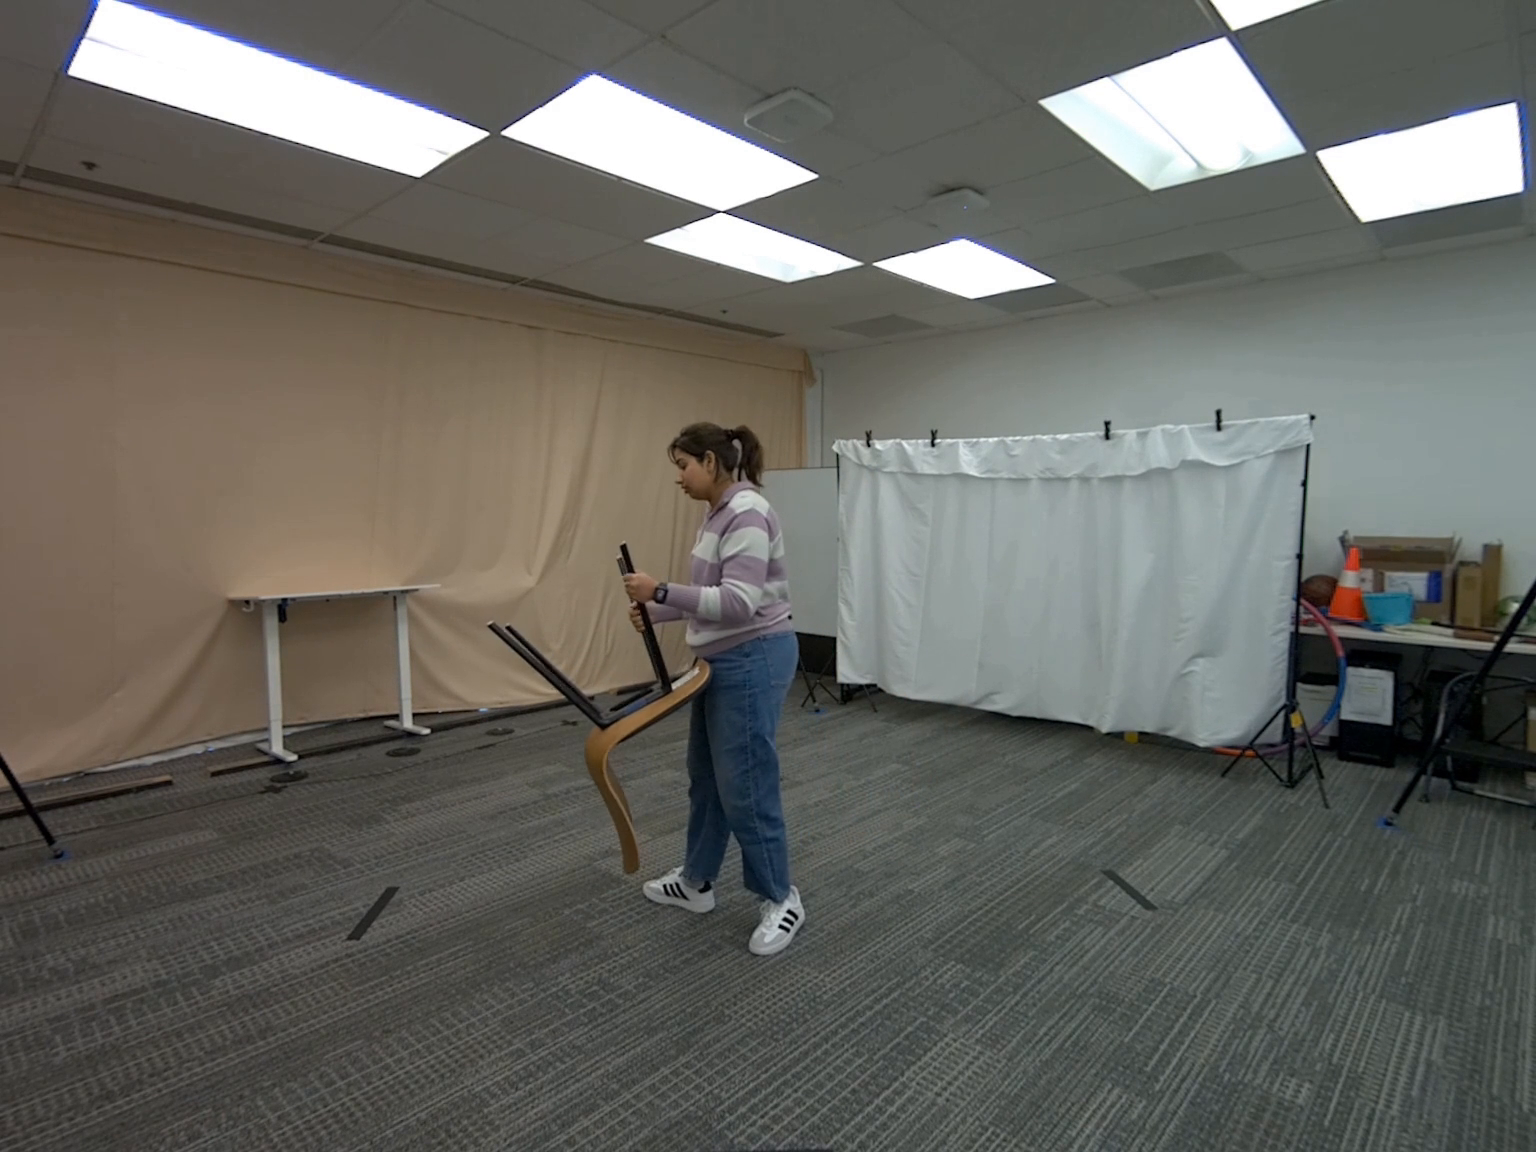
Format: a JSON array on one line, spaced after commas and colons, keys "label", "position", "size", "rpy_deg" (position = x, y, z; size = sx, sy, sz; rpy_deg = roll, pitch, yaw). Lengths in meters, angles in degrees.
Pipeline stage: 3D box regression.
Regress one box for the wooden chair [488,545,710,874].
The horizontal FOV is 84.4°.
[{"label": "wooden chair", "position": [-0.419, 0.403, 2.628], "size": [0.519, 0.879, 0.481], "rpy_deg": [-27, -1, -11]}]
